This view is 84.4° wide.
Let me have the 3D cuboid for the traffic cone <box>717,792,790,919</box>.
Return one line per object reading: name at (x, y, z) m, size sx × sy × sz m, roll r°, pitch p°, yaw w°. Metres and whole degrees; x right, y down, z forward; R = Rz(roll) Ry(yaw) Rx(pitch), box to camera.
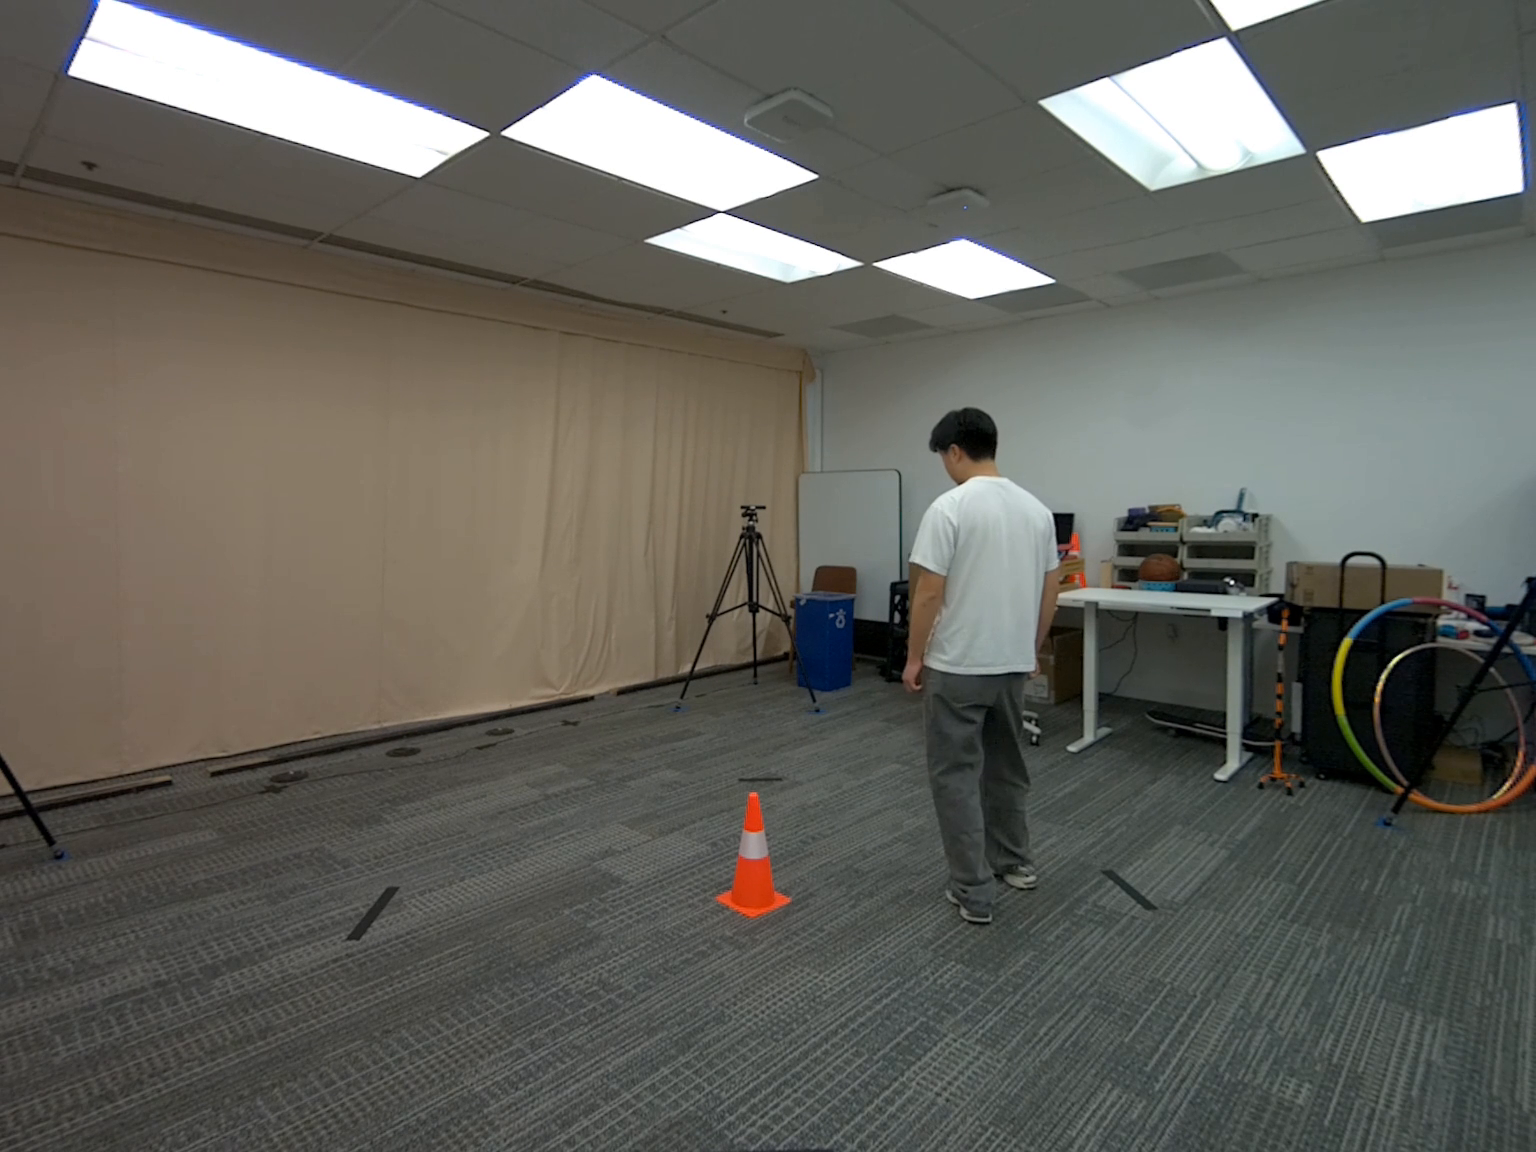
traffic cone at (-0.033, 0.968, 2.967) m, size 0.210 × 0.383 × 0.198 m, roll 6°, pitch 5°, yaw 43°
